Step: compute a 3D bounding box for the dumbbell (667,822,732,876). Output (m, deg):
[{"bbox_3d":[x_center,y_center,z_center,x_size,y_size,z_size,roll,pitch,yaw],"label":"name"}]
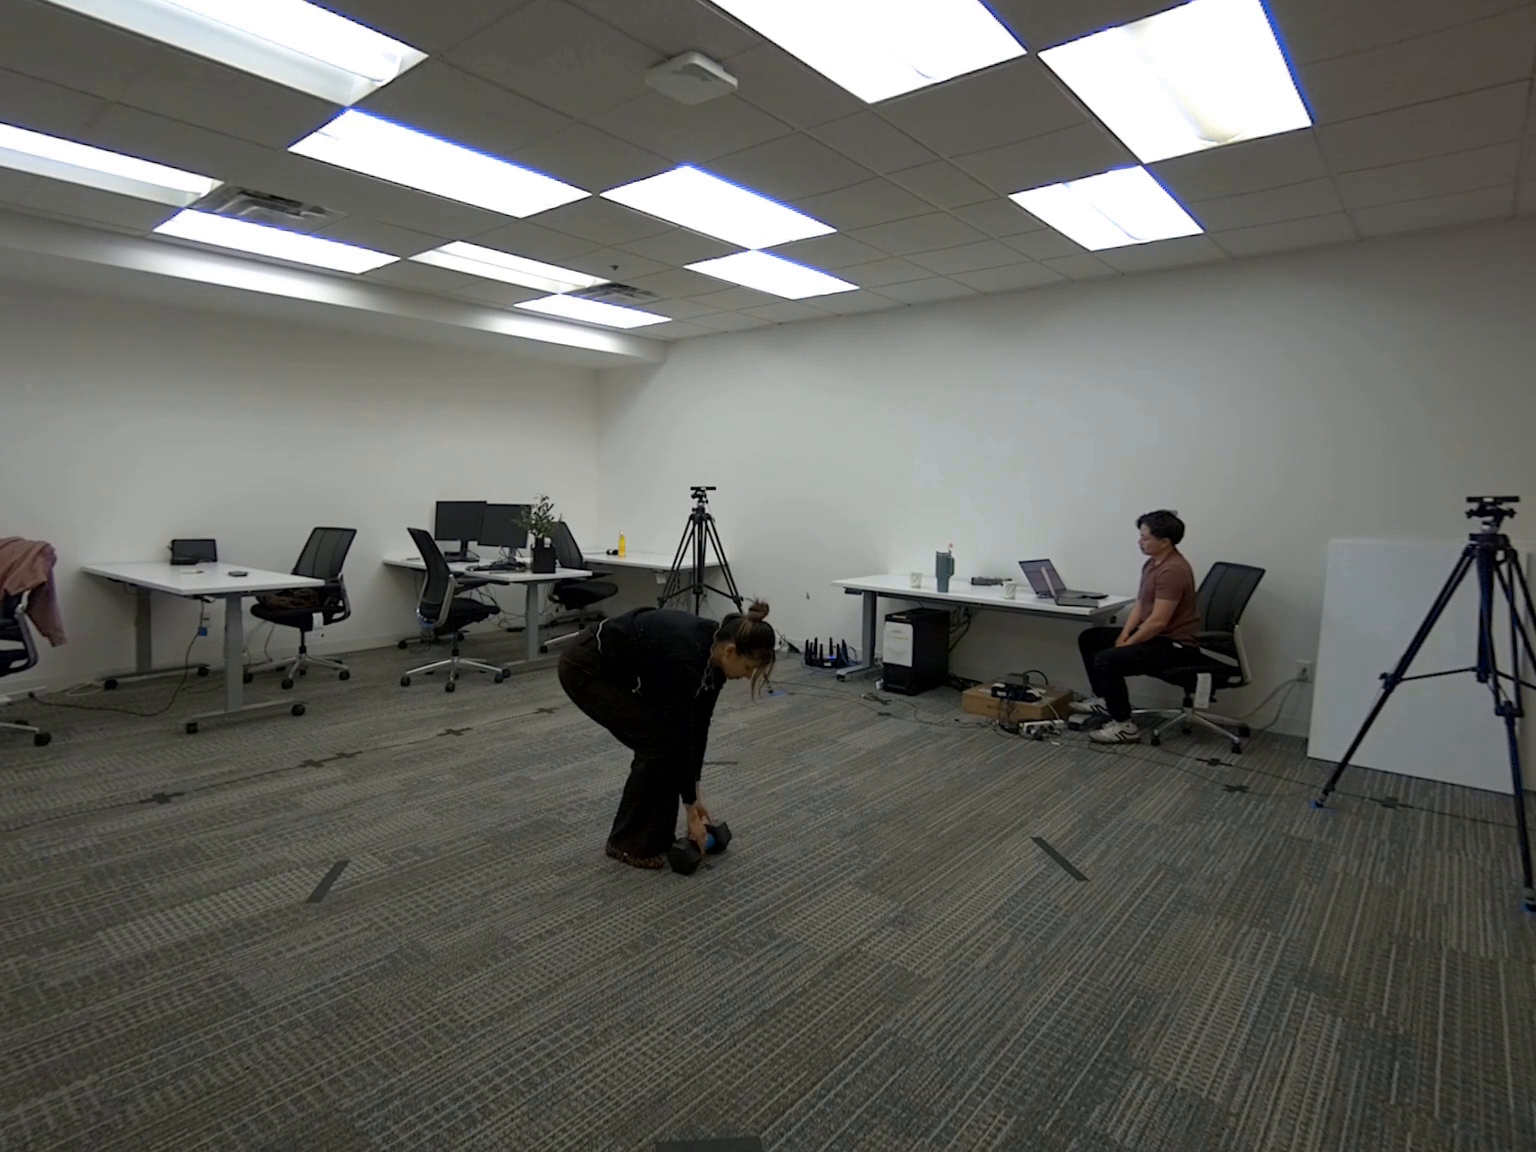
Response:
[{"bbox_3d":[-0.261,1.009,3.165,0.126,0.108,0.286,3,6,28],"label":"dumbbell"}]
